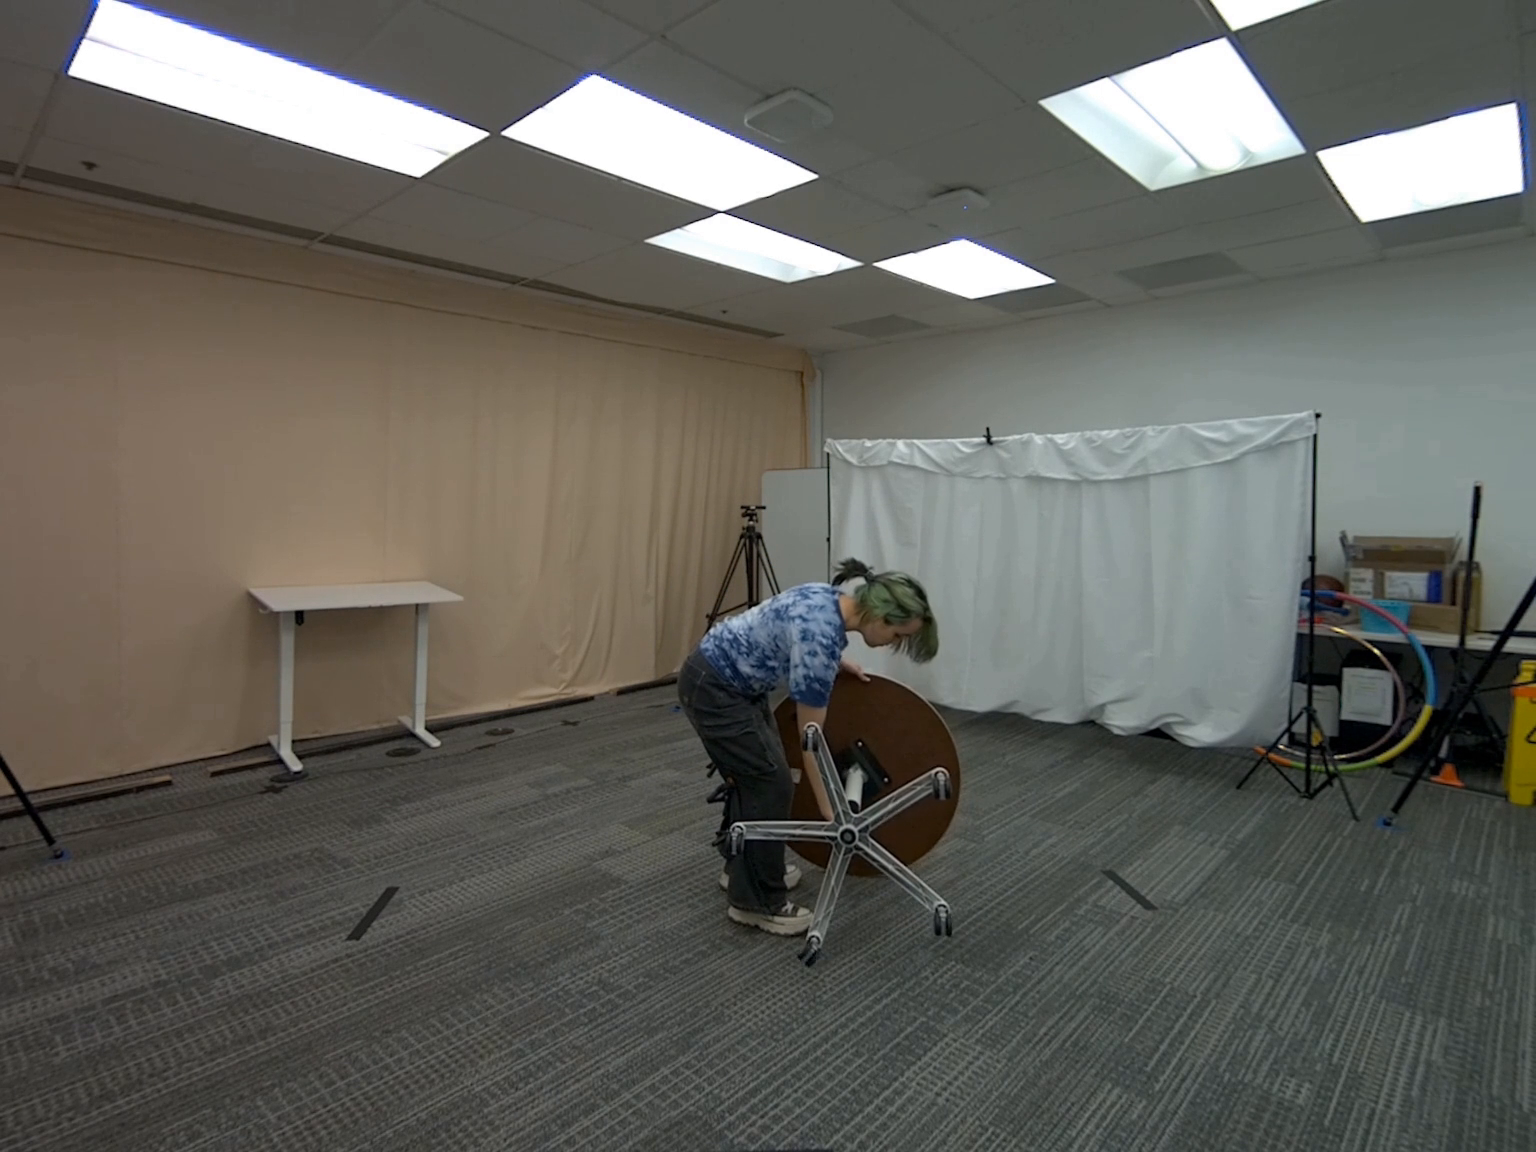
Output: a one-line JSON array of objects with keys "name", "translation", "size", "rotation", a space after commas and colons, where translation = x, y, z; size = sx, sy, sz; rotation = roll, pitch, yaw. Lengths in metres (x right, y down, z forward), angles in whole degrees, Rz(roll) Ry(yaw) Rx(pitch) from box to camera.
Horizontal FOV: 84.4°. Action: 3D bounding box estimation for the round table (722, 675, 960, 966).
[{"name": "round table", "translation": [0.278, 0.773, 2.788], "size": [0.771, 0.763, 0.787], "rotation": [1, 2, 7]}]
